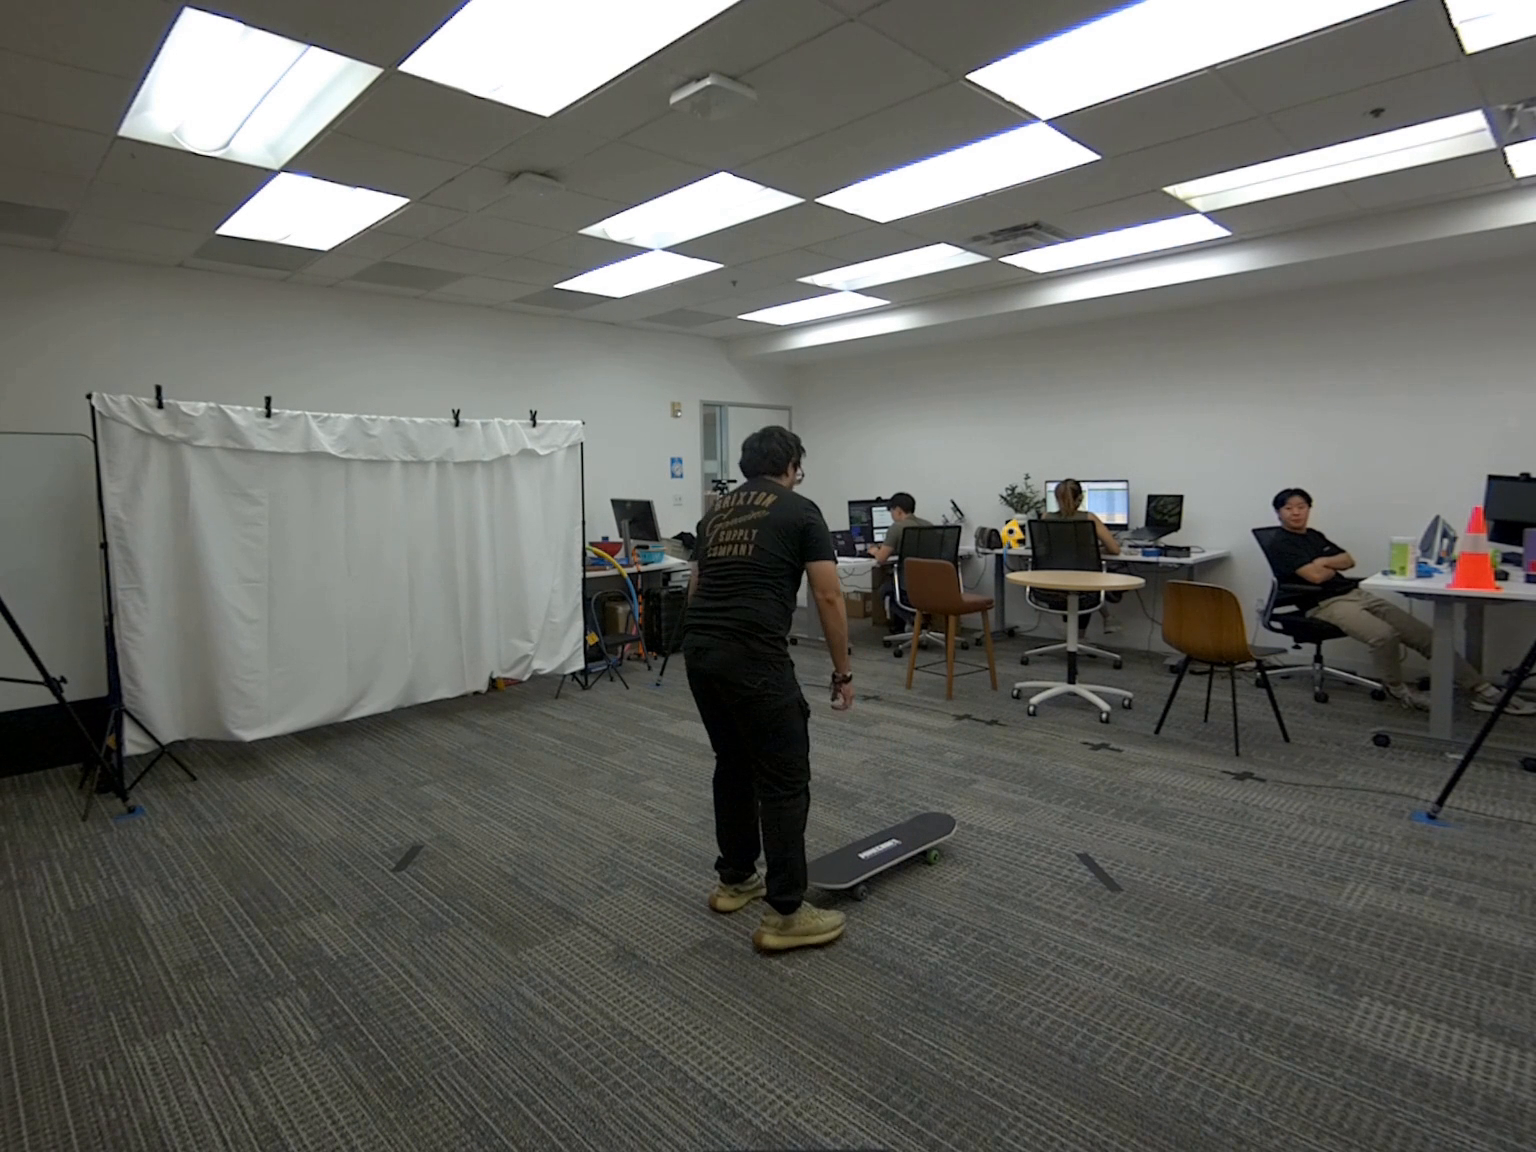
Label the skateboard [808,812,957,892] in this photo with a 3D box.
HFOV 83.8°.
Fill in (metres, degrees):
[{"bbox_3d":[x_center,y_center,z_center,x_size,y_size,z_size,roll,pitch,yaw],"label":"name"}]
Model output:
[{"bbox_3d":[0.399,0.996,3.014,0.765,0.110,0.199,-7,8,-42],"label":"skateboard"}]
